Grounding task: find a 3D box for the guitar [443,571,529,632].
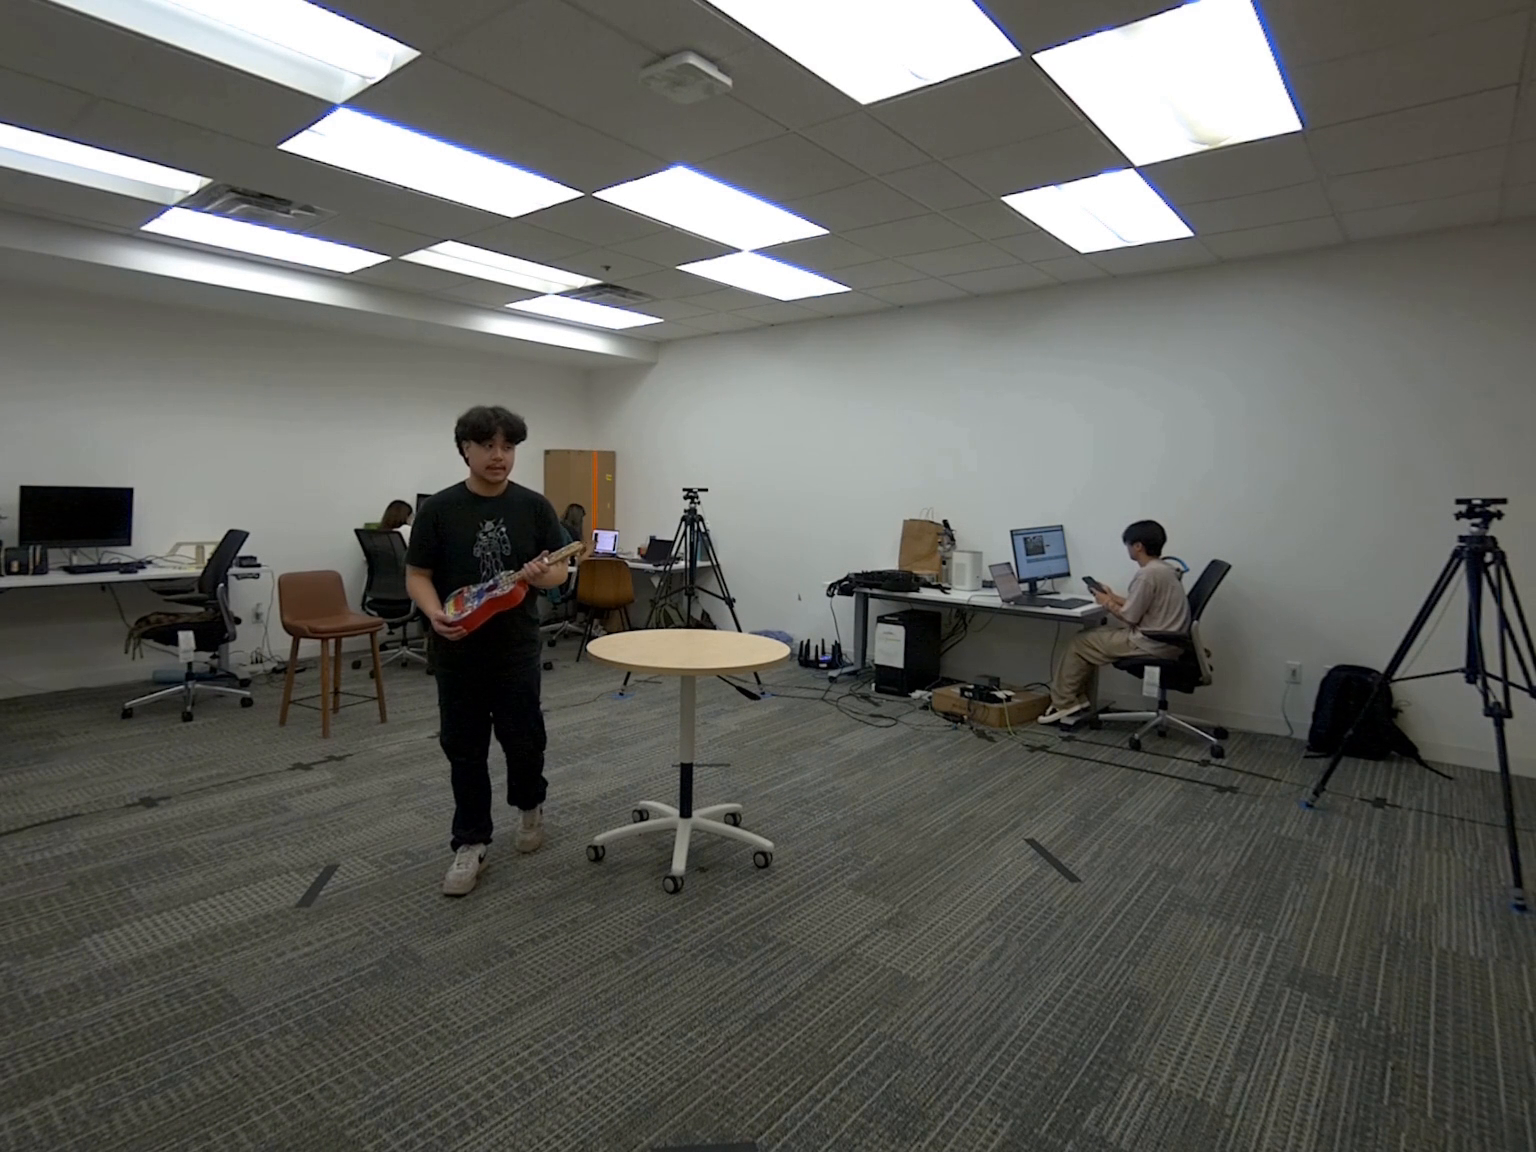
[{"bbox_3d":[-0.844,0.035,2.804,0.498,0.068,0.199,-22,34,2],"label":"guitar"}]
